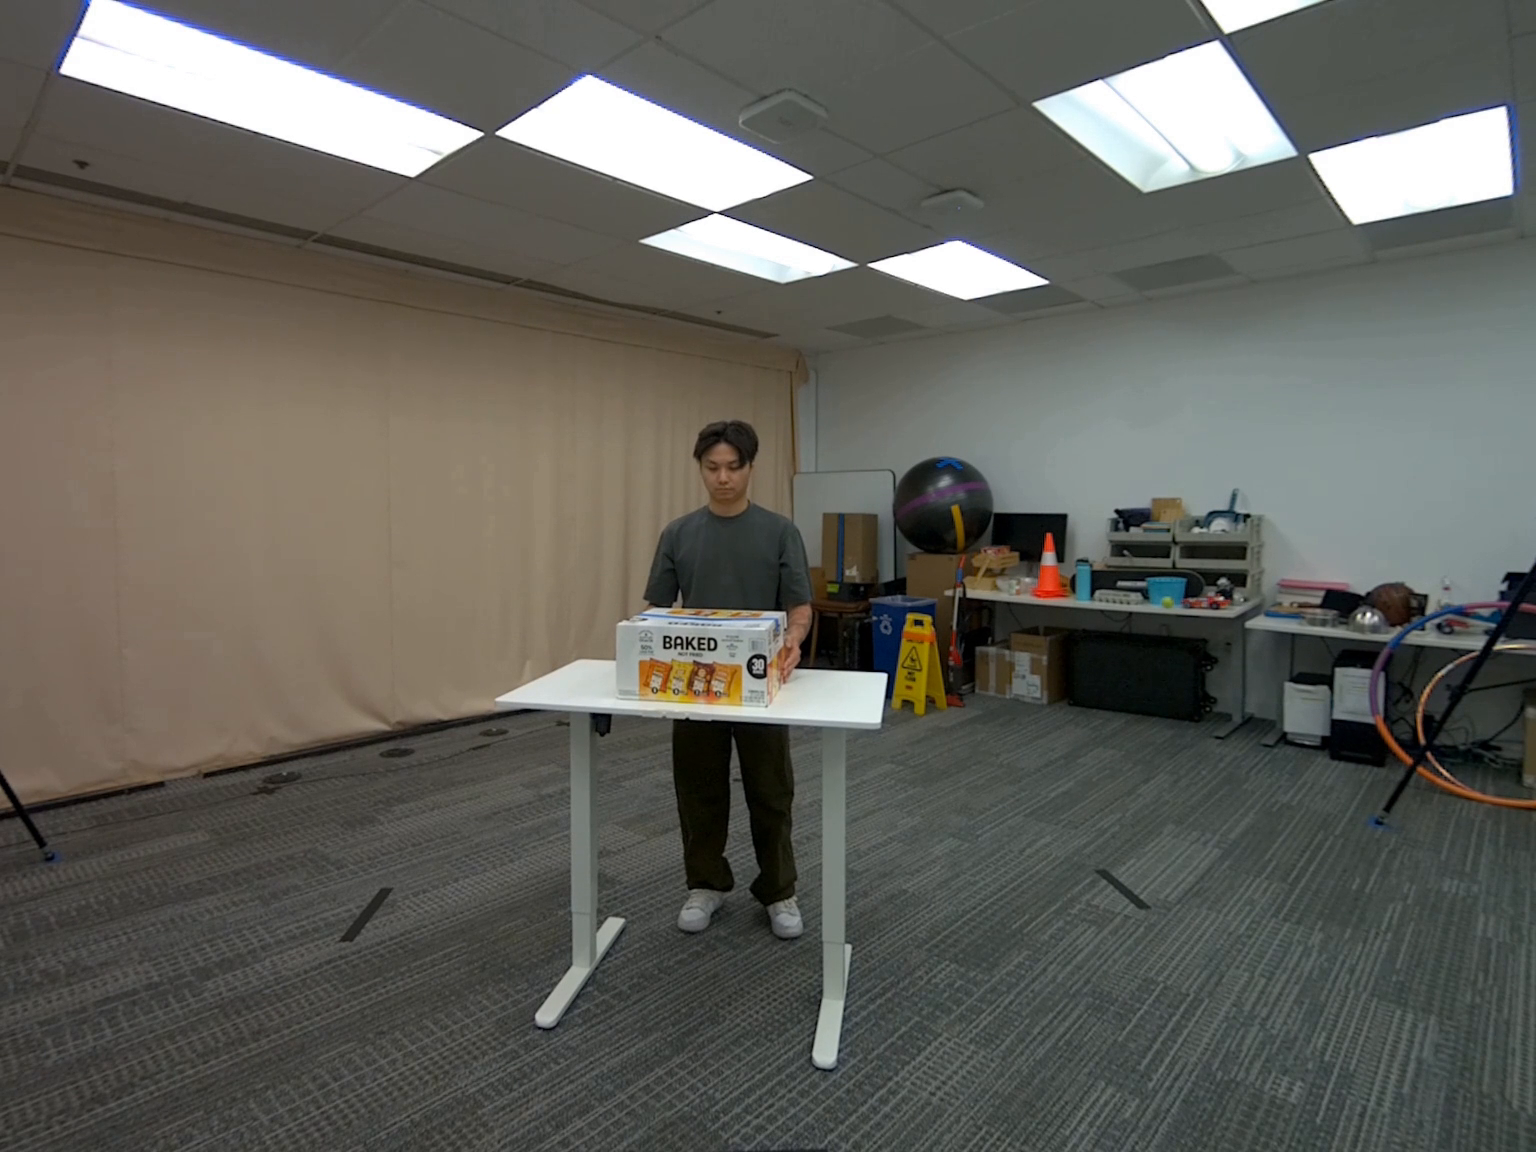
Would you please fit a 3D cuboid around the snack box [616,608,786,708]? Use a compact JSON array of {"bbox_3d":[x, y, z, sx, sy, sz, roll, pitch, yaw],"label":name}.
[{"bbox_3d":[-0.172,0.215,2.341,0.410,0.205,0.337,1,4,11],"label":"snack box"}]
